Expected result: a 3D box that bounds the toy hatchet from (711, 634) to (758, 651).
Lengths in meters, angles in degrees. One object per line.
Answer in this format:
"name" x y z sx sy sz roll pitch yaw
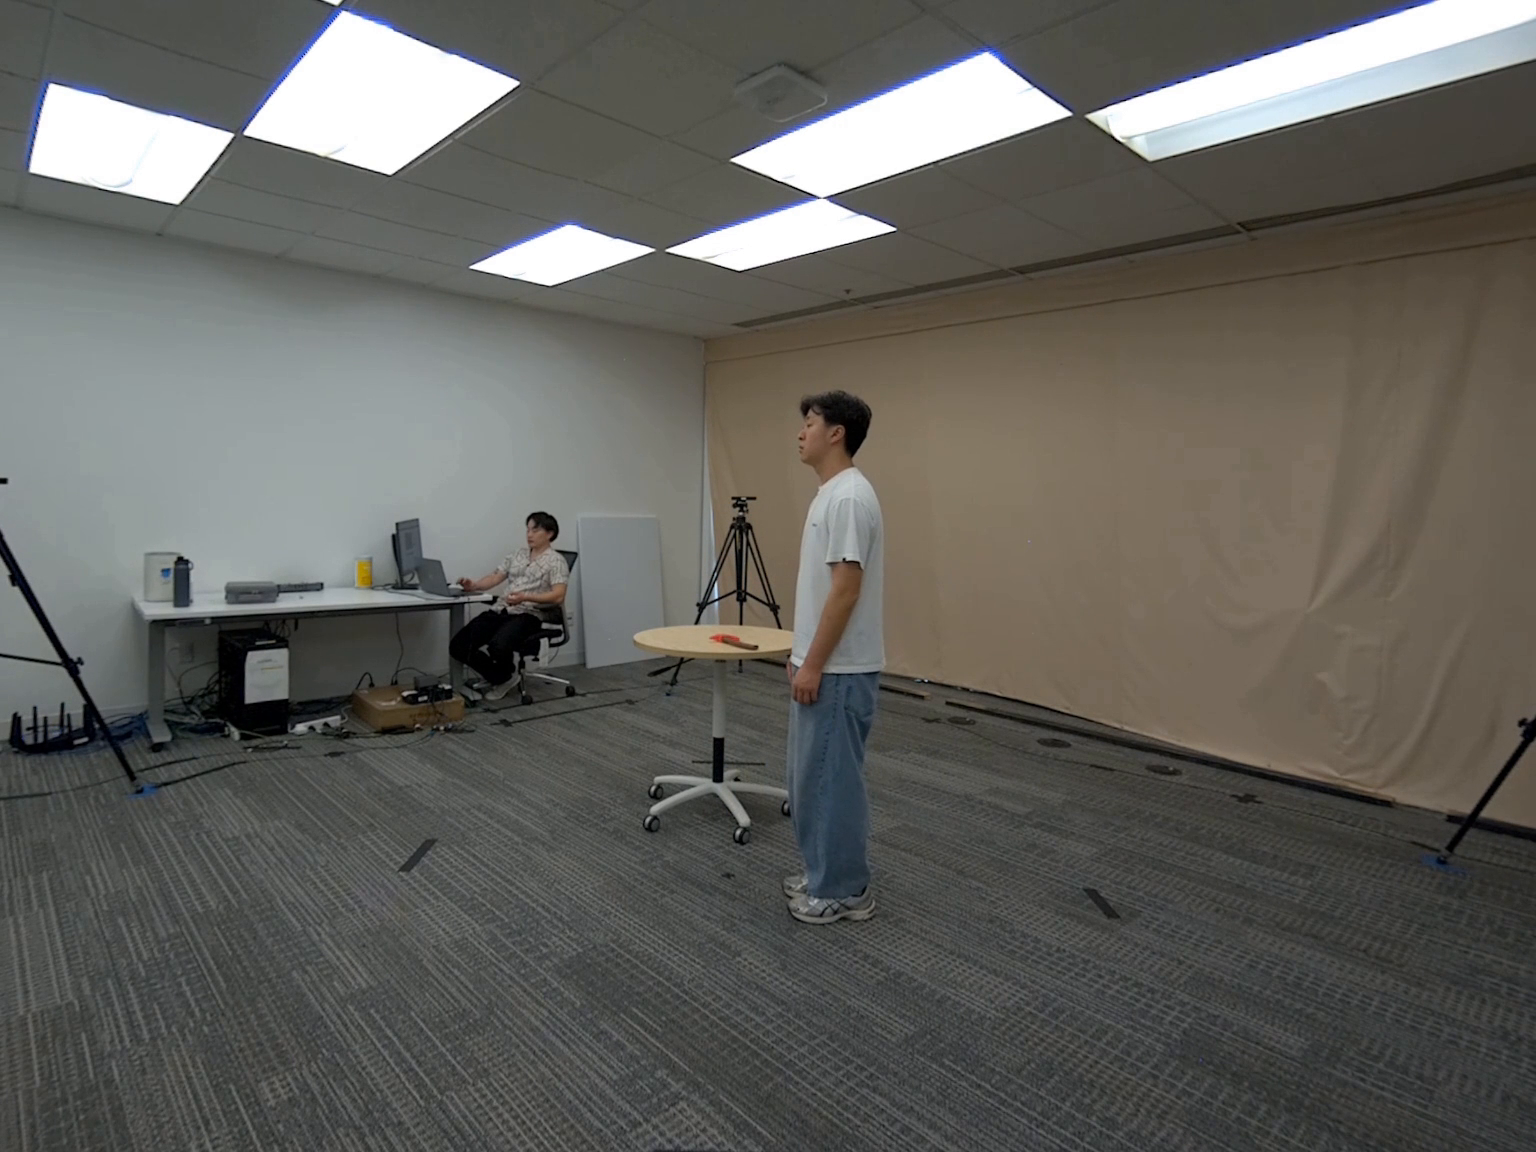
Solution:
"toy hatchet" -0.121 0.275 3.511 0.128 0.029 0.277 2 4 -44
